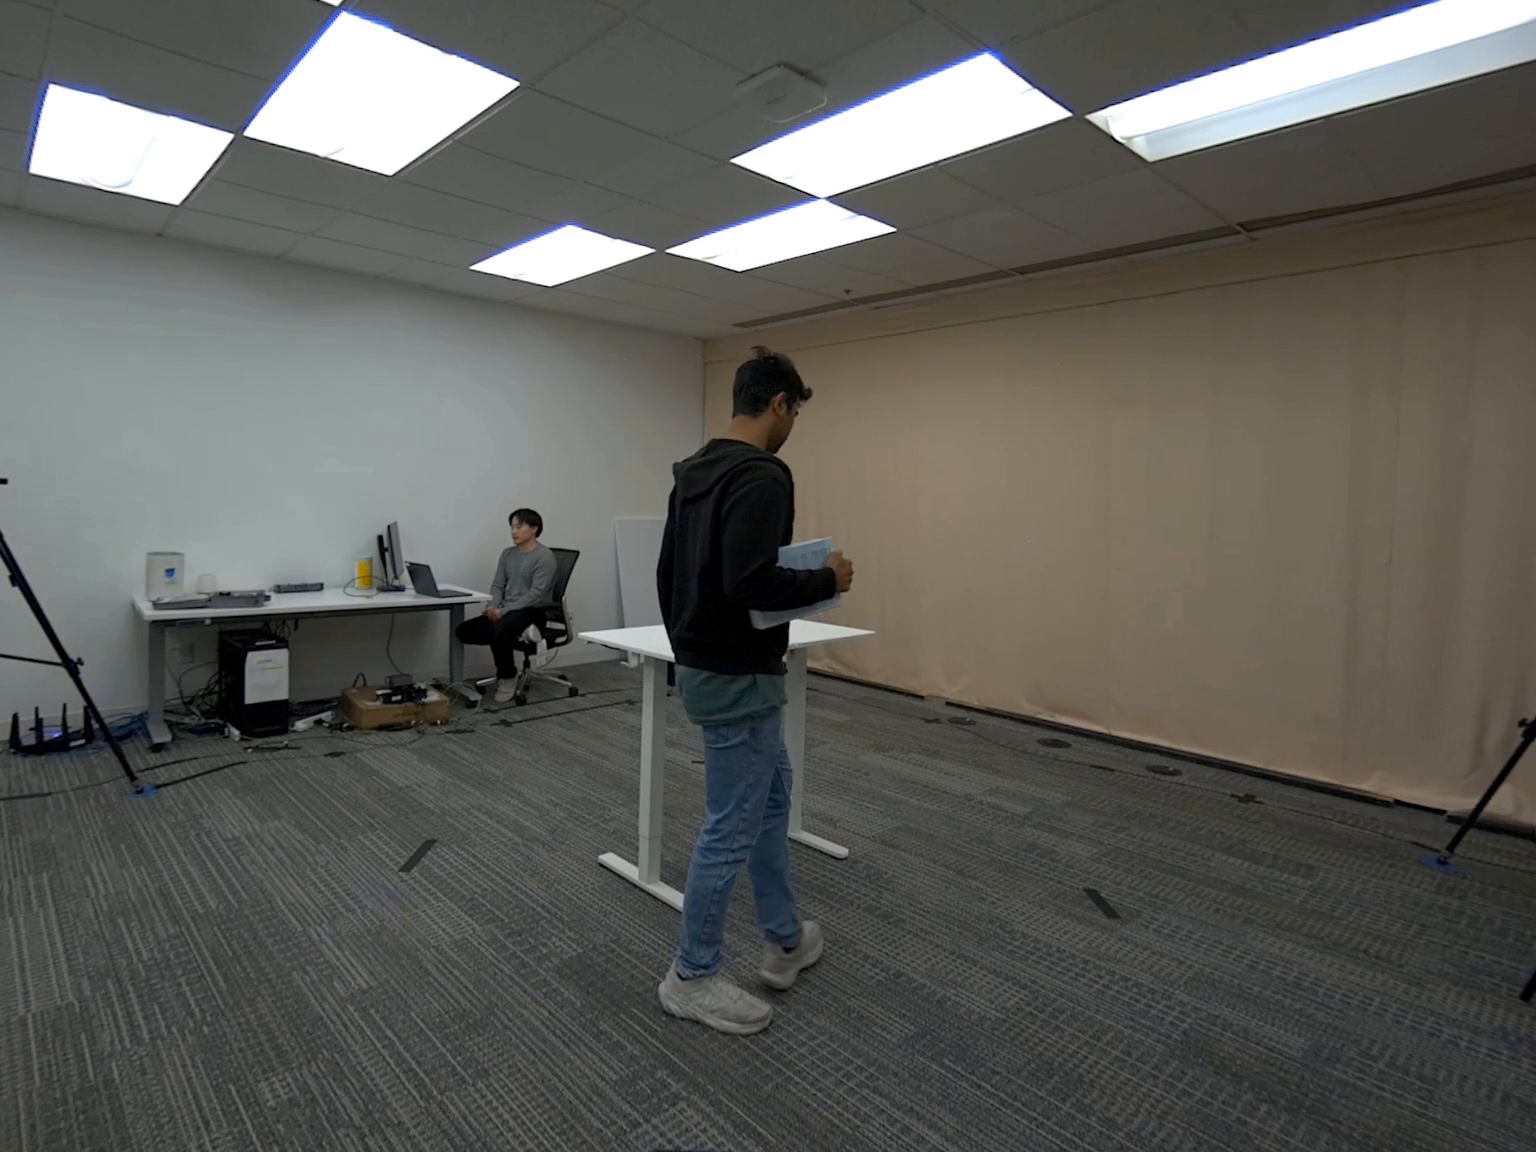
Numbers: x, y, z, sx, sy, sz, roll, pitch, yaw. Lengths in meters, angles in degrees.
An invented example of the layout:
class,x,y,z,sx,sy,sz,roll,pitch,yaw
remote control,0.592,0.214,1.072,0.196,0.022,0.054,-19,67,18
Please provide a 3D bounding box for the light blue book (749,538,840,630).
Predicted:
class,x,y,z,sx,sy,sz,roll,pitch,yaw
light blue book,0.051,0.014,2.212,0.258,0.192,0.059,-14,-2,-18
